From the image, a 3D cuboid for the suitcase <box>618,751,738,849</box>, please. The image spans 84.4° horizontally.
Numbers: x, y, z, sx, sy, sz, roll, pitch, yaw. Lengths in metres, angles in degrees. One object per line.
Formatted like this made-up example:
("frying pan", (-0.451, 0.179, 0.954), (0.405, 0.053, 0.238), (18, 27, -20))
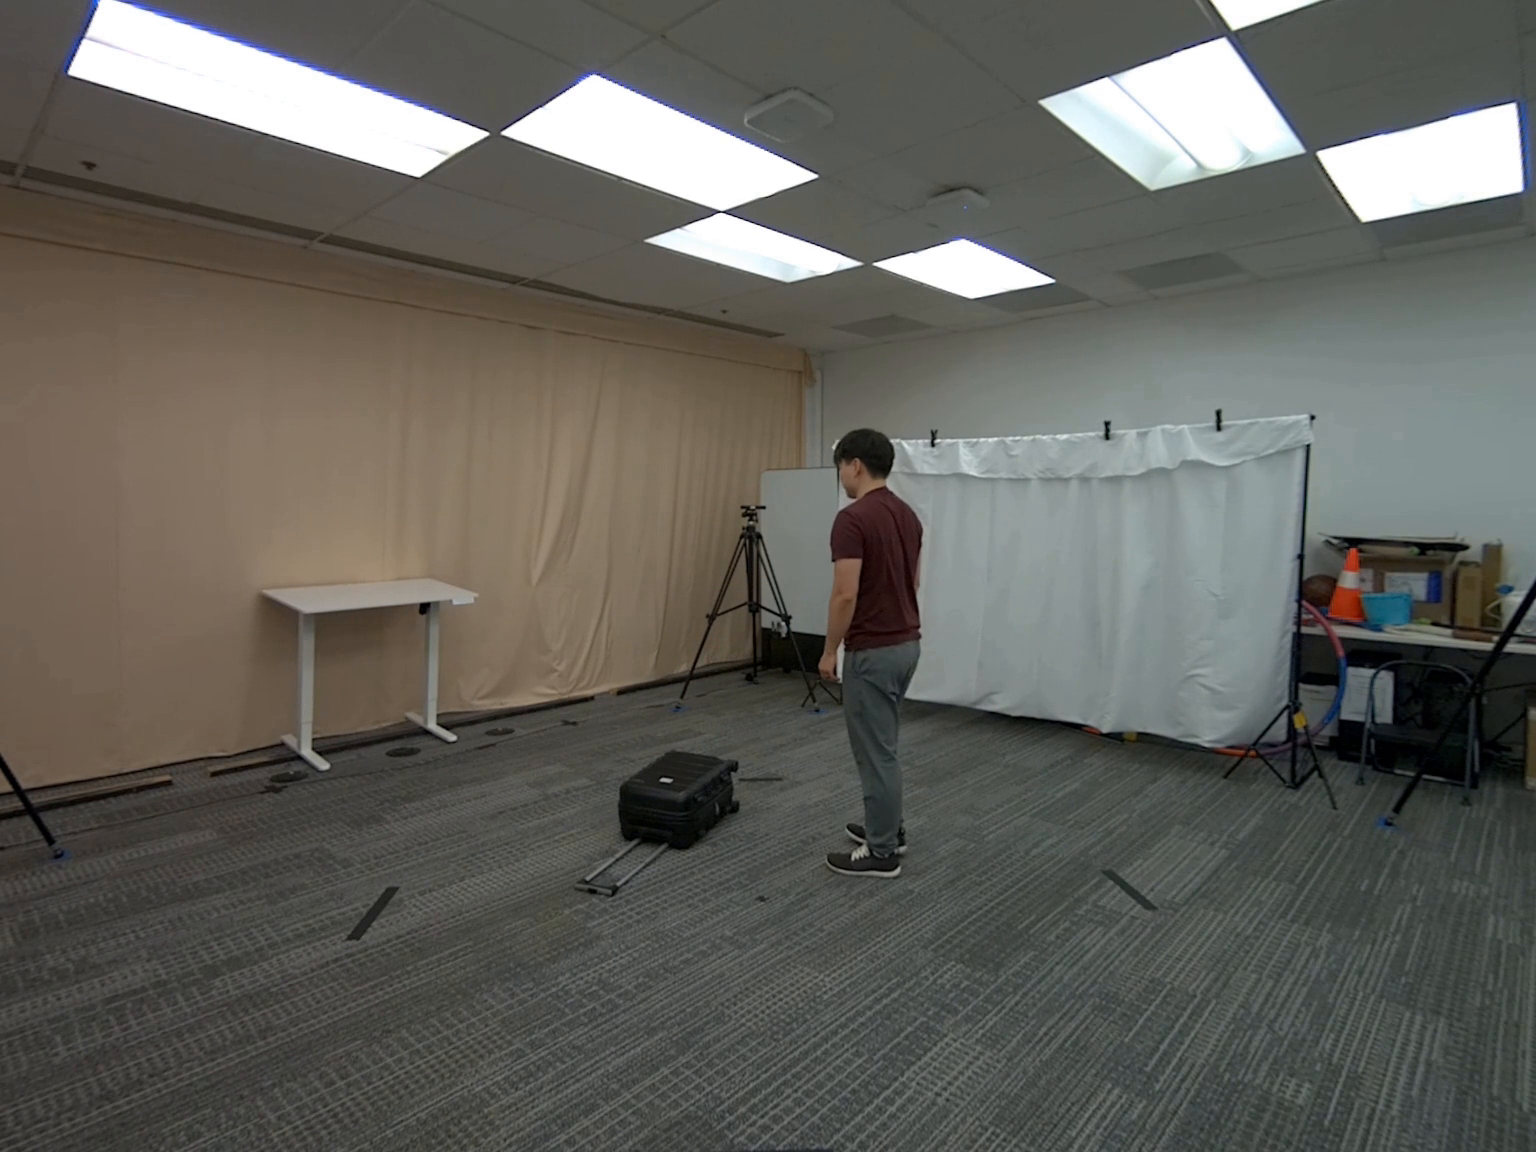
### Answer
("suitcase", (-0.461, 0.978, 3.476), (0.393, 0.256, 0.958), (3, 6, 22))
